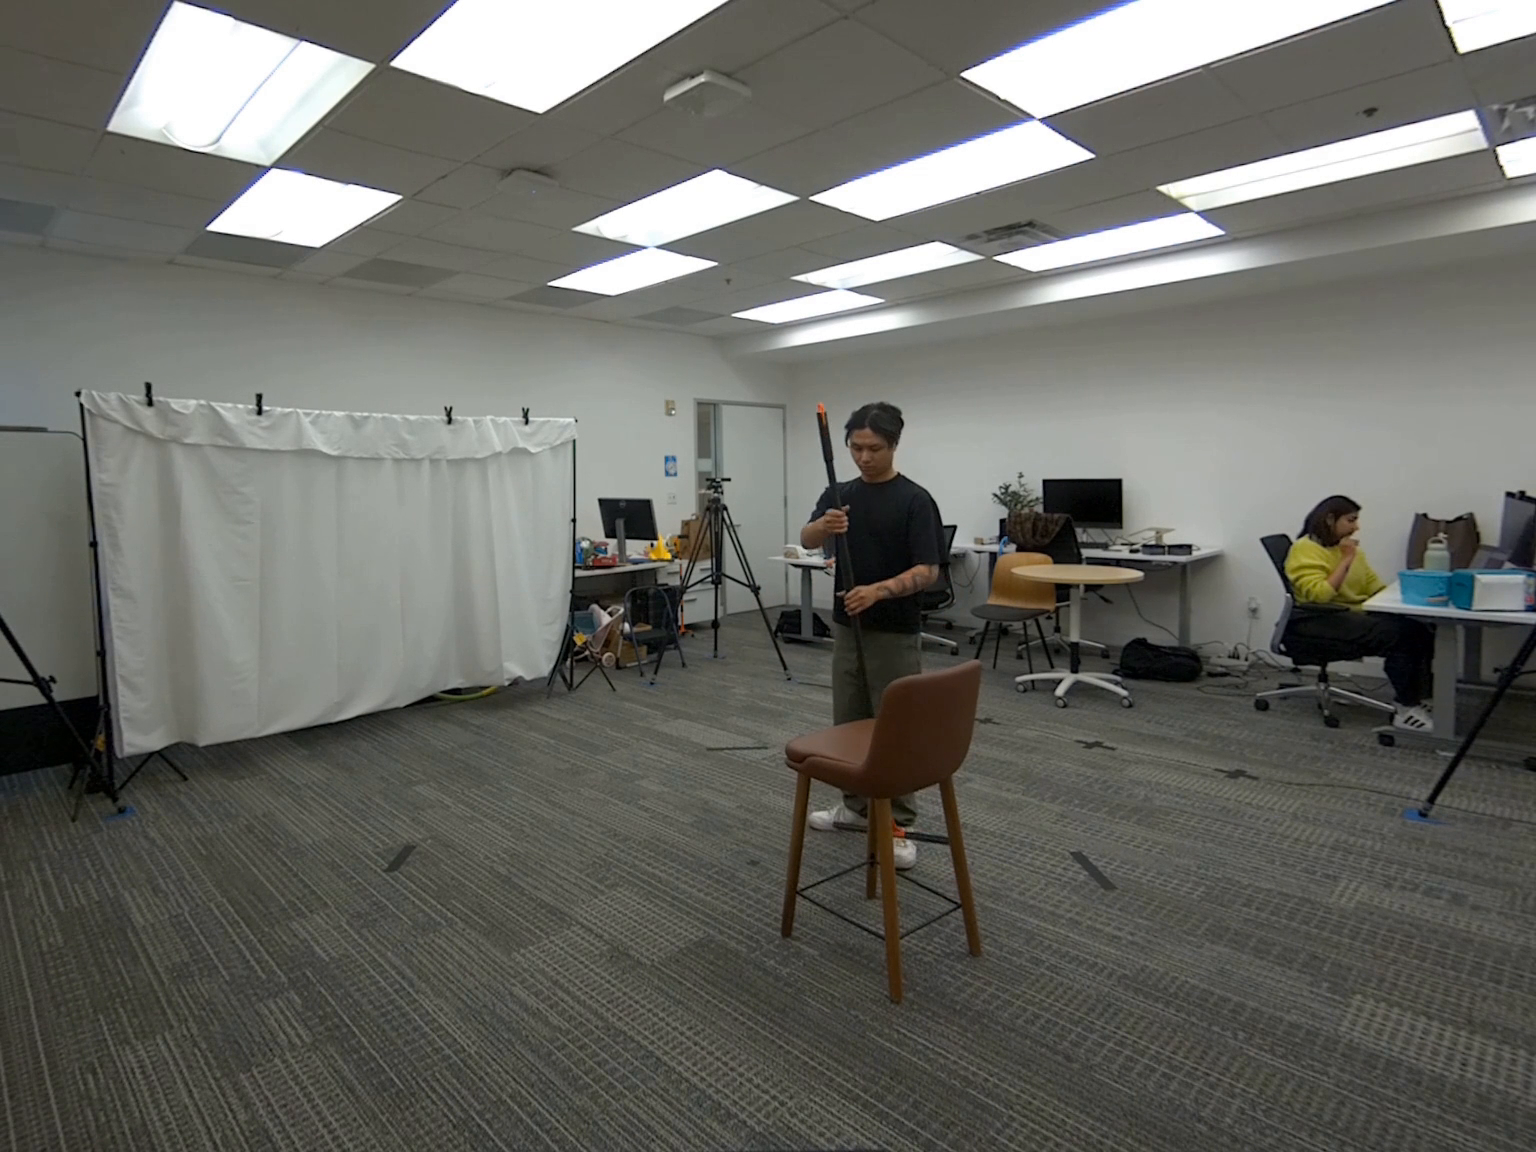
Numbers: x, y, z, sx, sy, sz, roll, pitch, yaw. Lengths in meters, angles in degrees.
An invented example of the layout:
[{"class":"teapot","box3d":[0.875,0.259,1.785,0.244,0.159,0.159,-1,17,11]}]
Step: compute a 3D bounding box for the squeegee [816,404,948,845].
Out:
[{"class":"squeegee","box3d":[0.310,0.191,2.907,0.449,1.525,0.052,-2,10,37]}]
